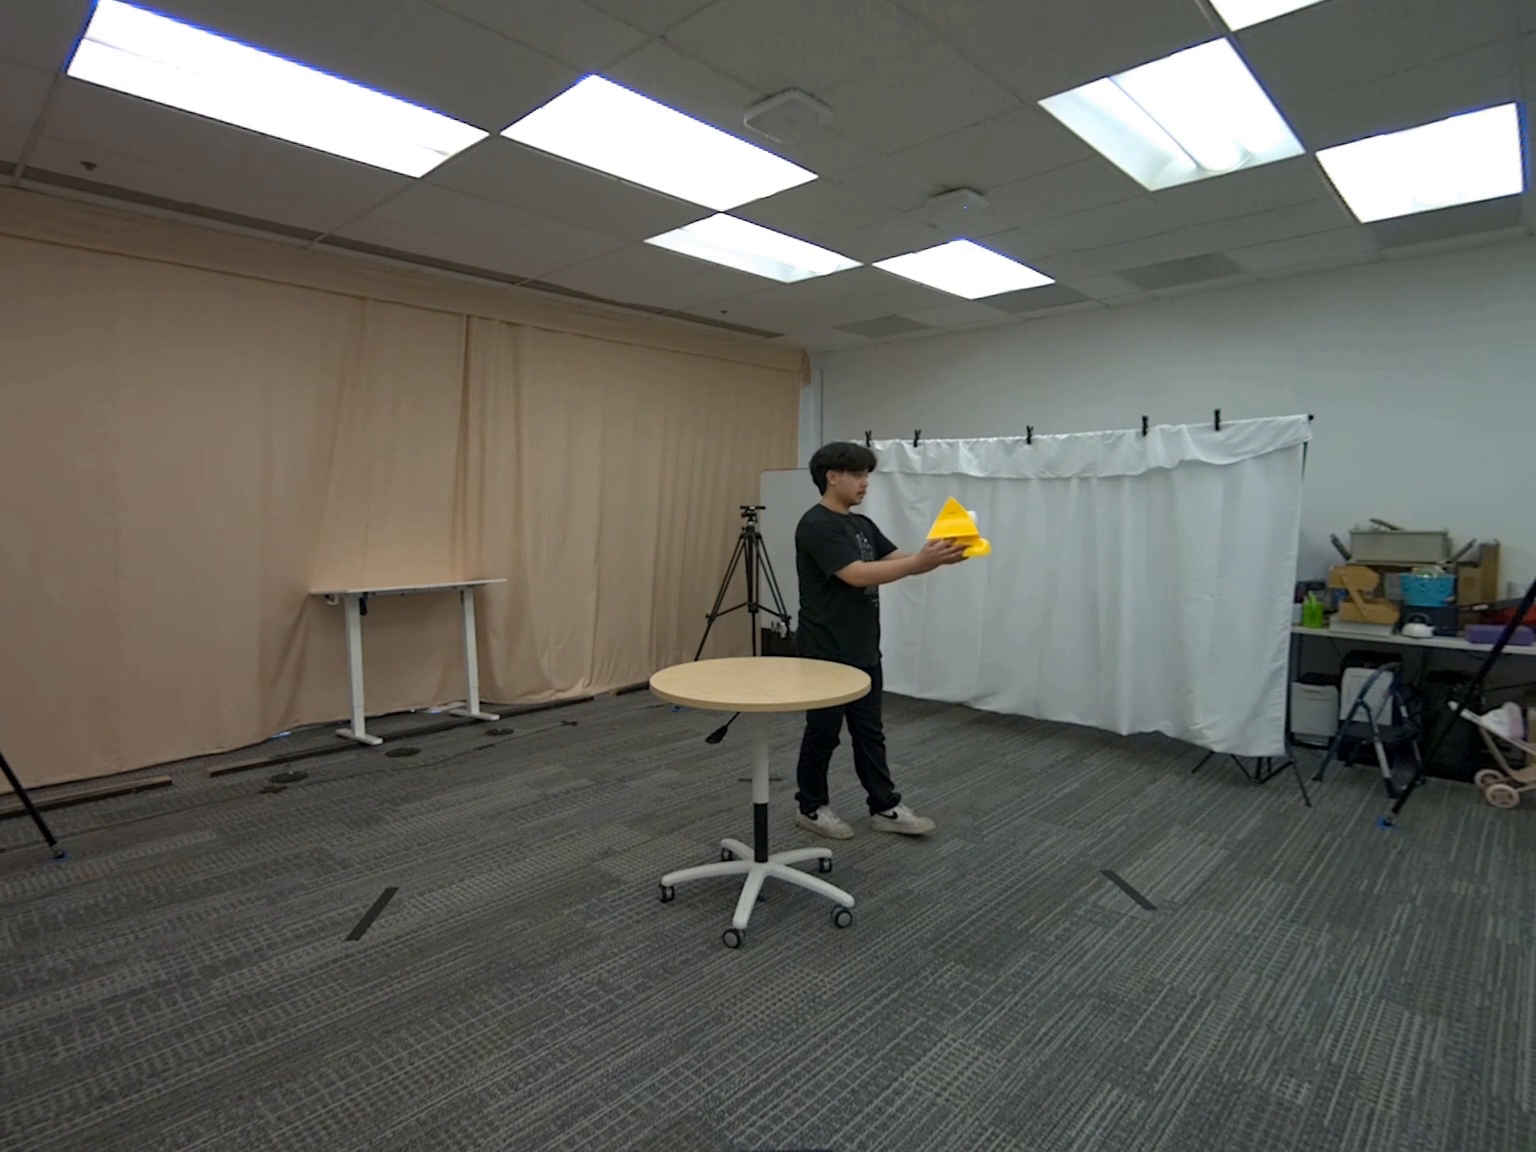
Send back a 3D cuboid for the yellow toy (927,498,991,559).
[{"bbox_3d":[0.743,-0.190,3.219,0.211,0.230,0.187,-4,2,36],"label":"yellow toy"}]
